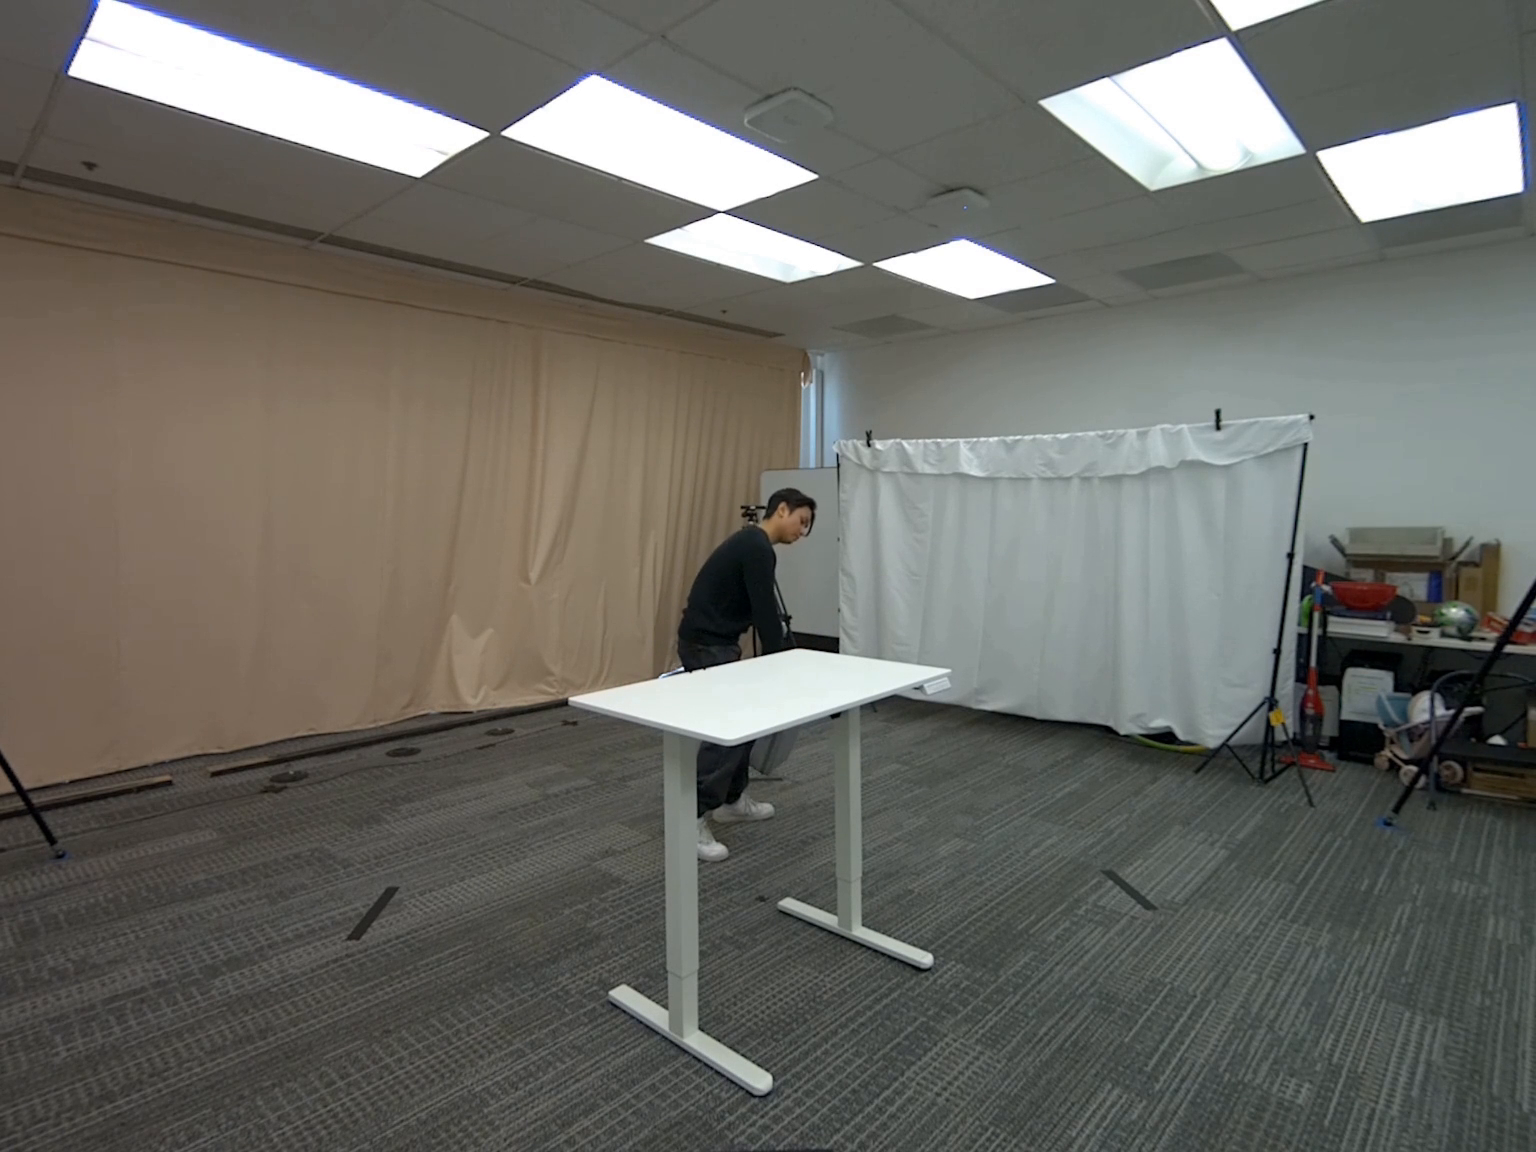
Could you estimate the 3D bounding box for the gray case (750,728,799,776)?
[{"bbox_3d":[0.044,0.672,3.493,0.107,0.259,0.252,21,14,19],"label":"gray case"}]
